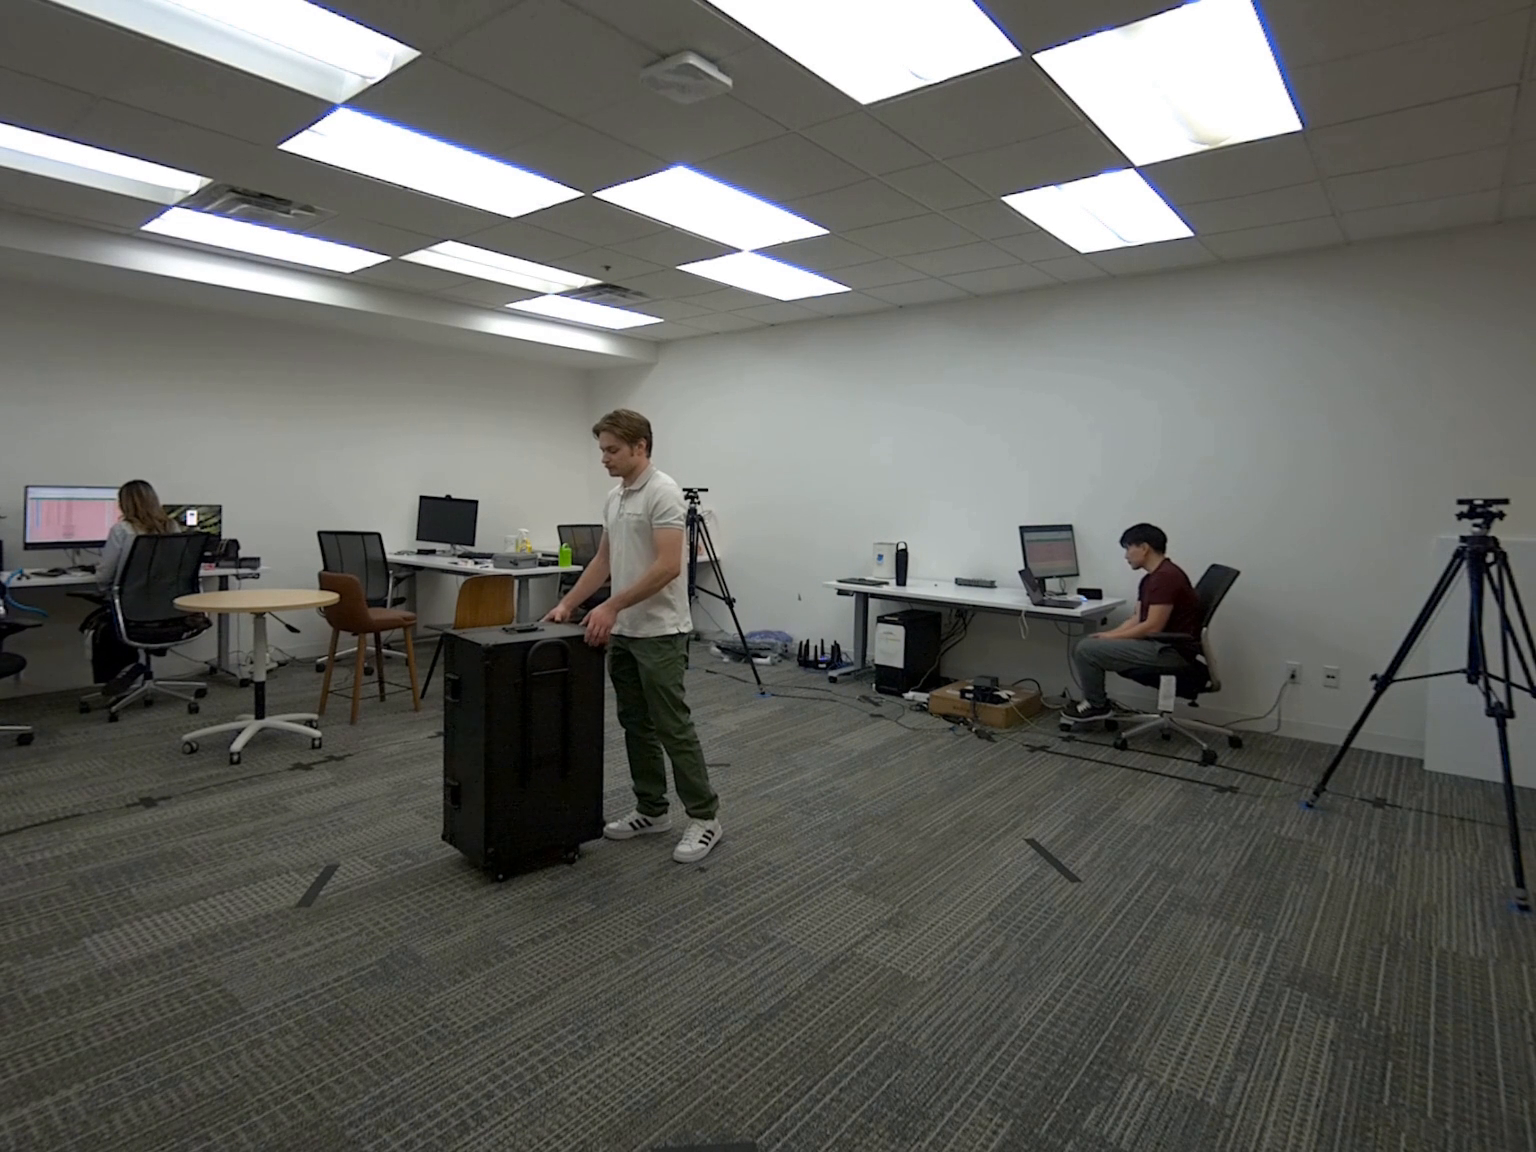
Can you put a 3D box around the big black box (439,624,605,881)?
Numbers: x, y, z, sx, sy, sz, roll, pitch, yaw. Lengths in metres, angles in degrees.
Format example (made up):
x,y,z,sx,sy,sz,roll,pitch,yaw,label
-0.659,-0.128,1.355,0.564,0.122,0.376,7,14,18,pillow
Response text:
x,y,z,sx,sy,sz,roll,pitch,yaw,label
-0.914,0.634,3.167,0.507,0.866,0.398,-2,5,-42,big black box
